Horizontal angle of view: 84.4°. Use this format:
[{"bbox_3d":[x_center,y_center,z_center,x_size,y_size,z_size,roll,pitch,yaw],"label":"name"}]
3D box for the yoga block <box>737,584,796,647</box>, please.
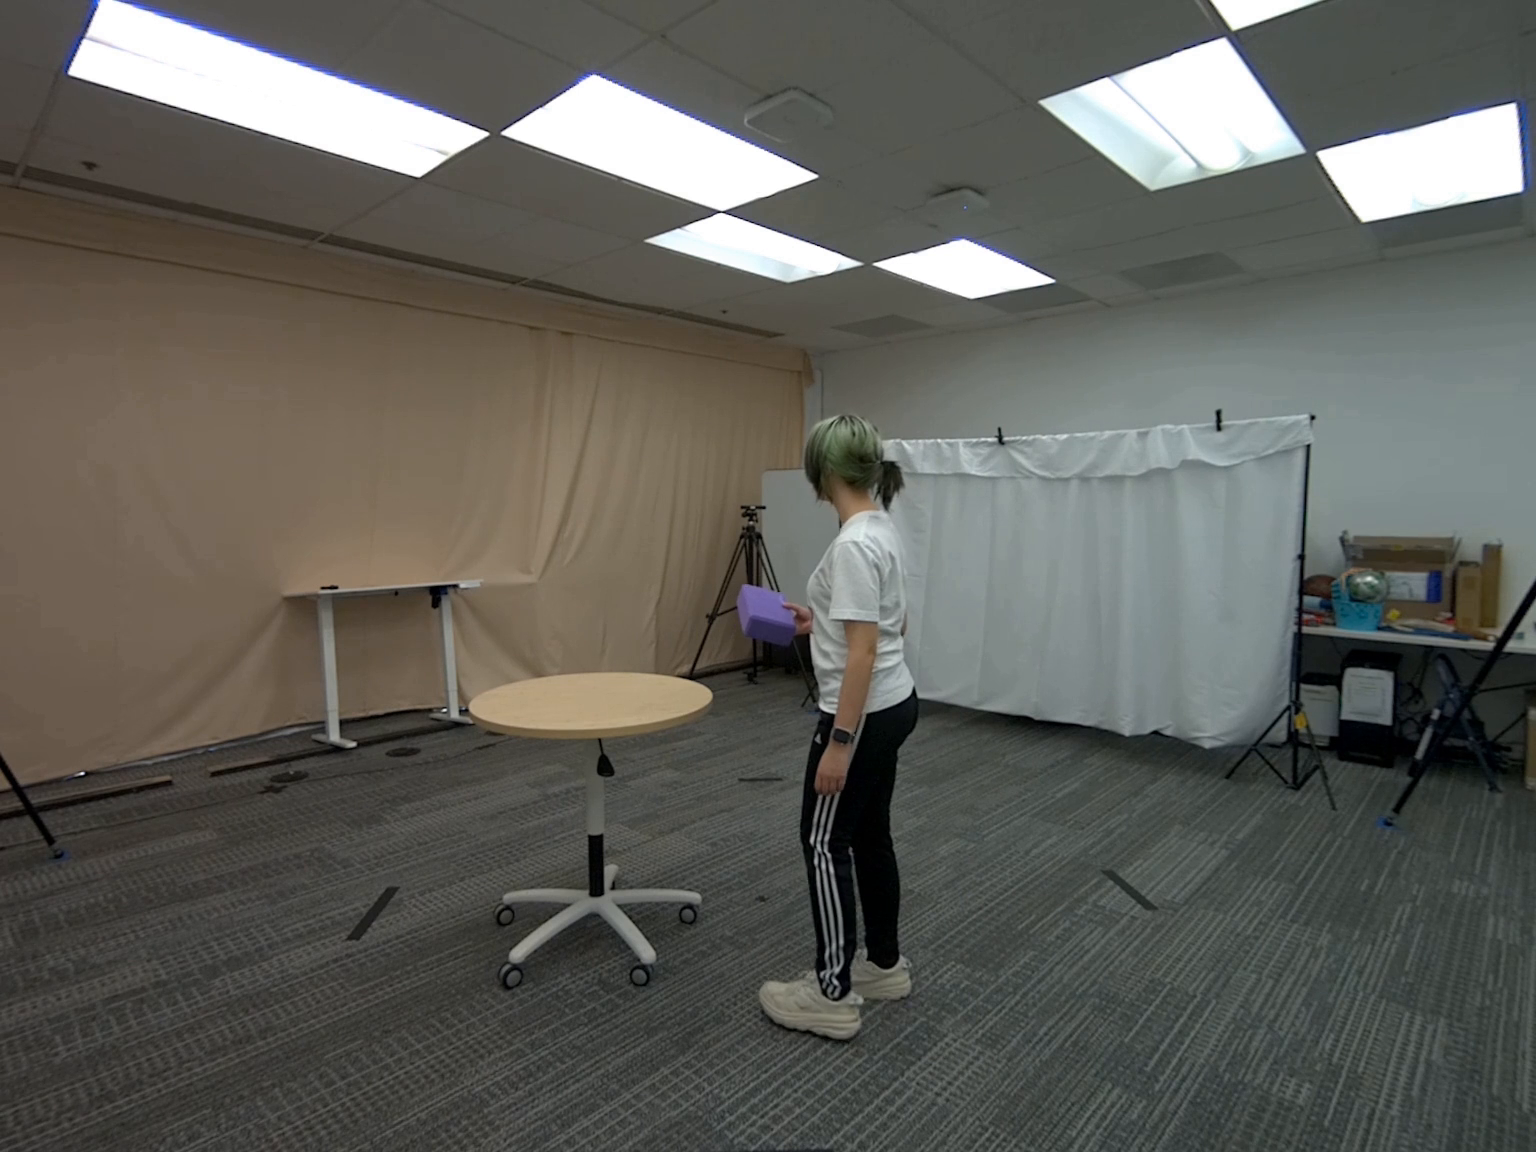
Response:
[{"bbox_3d":[-0.003,0.118,2.599,0.147,0.076,0.234,14,22,-14],"label":"yoga block"}]
